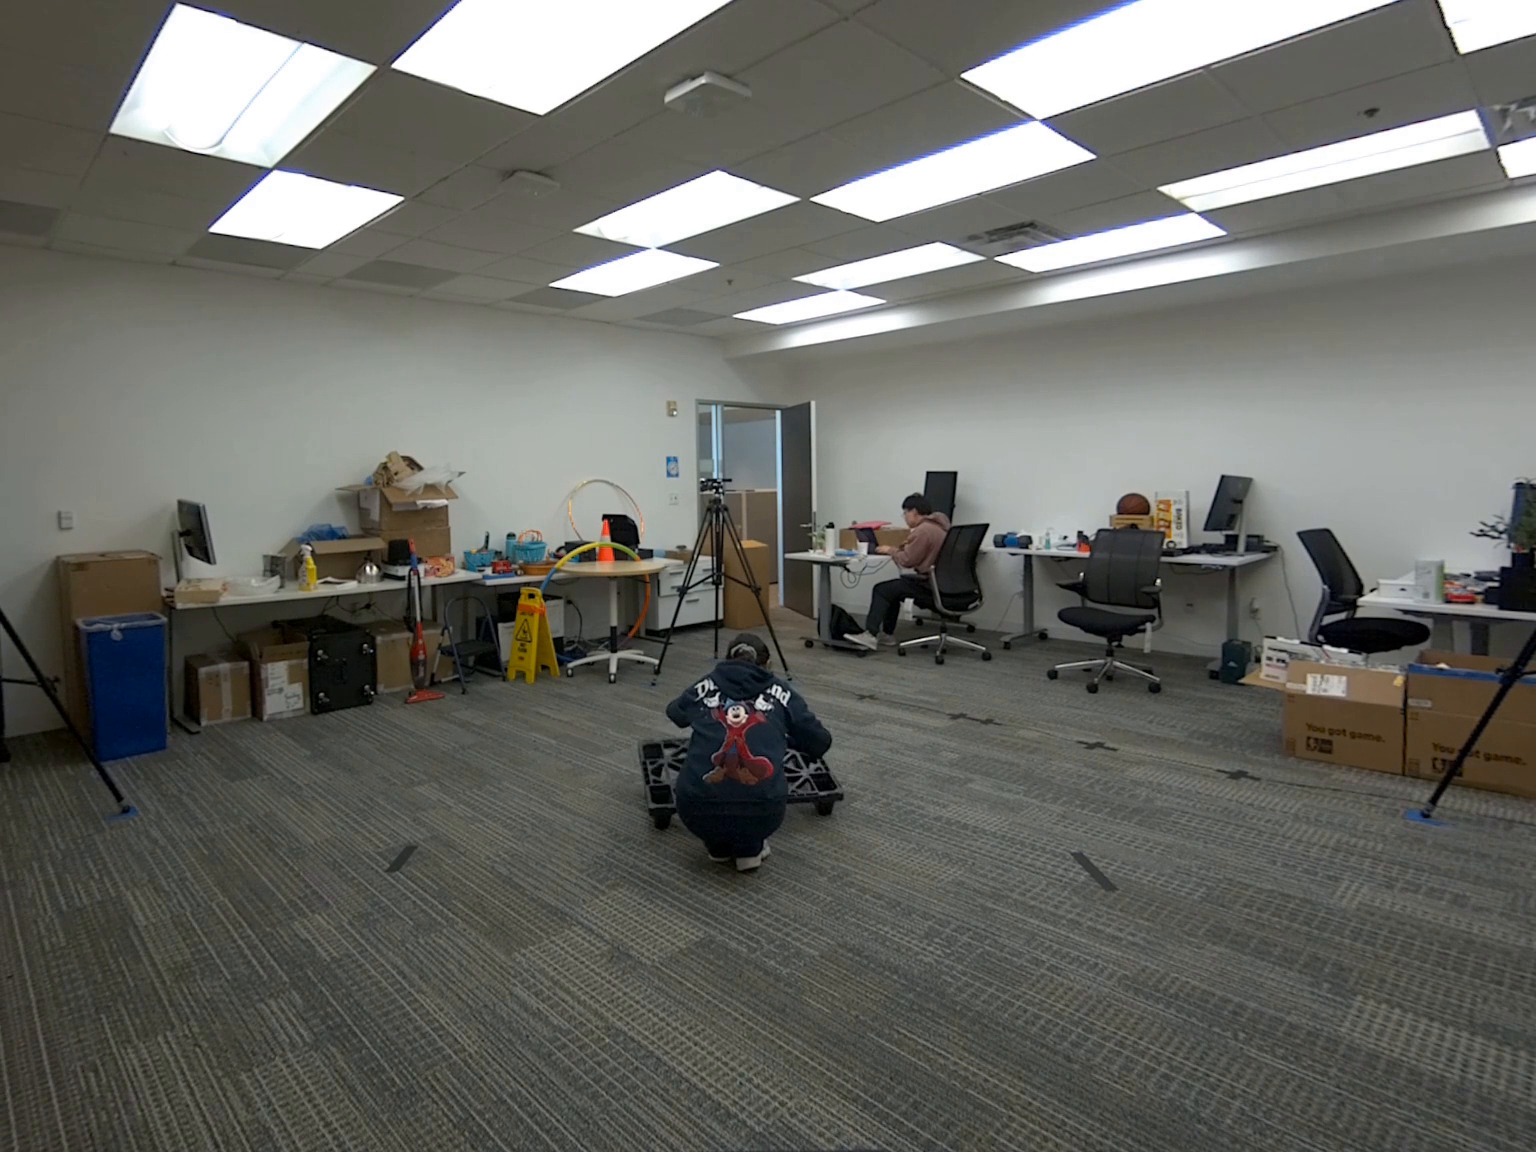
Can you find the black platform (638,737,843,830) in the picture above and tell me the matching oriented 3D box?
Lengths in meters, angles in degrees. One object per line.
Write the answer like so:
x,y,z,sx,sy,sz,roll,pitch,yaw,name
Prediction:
-0.139,0.870,3.695,0.799,0.141,0.618,-2,16,-9,black platform
